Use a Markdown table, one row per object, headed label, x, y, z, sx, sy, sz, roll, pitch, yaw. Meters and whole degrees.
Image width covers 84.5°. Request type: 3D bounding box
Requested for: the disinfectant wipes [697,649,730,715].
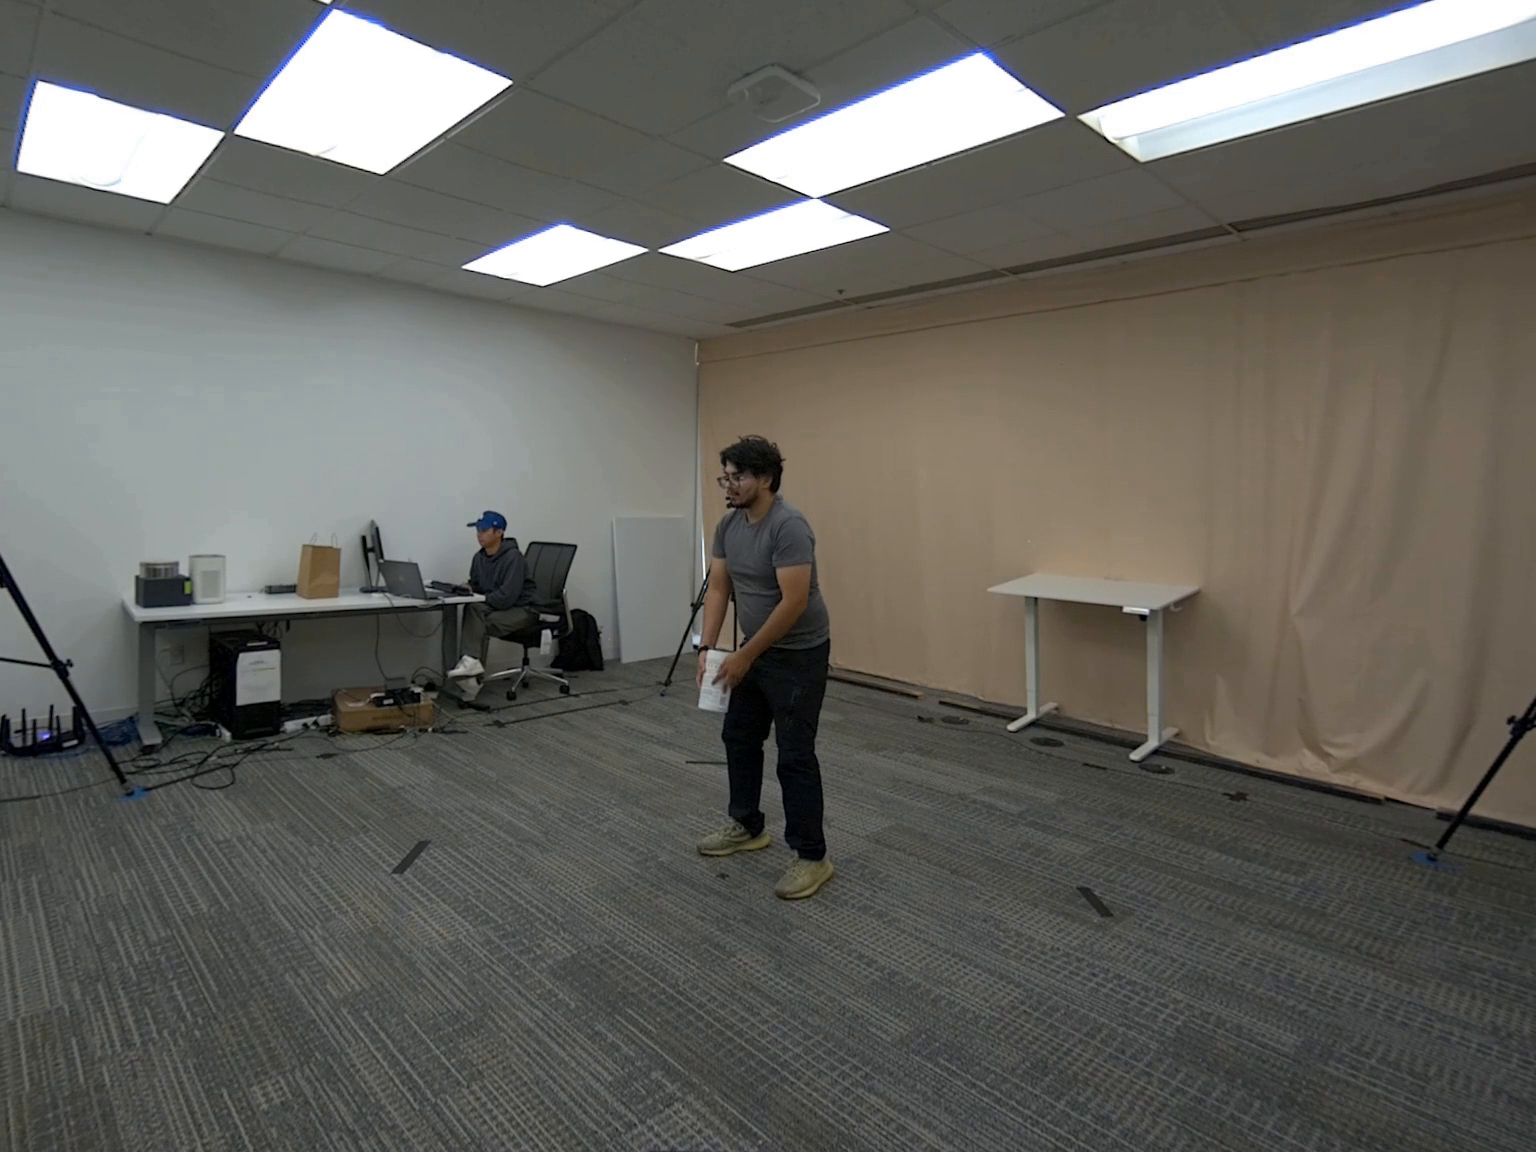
| label | x | y | z | sx | sy | sz | roll | pitch | yaw |
| --- | --- | --- | --- | --- | --- | --- | --- | --- | --- |
| disinfectant wipes | -0.183 | 0.382 | 3.054 | 0.118 | 0.218 | 0.117 | 8 | -7 | 0 |
